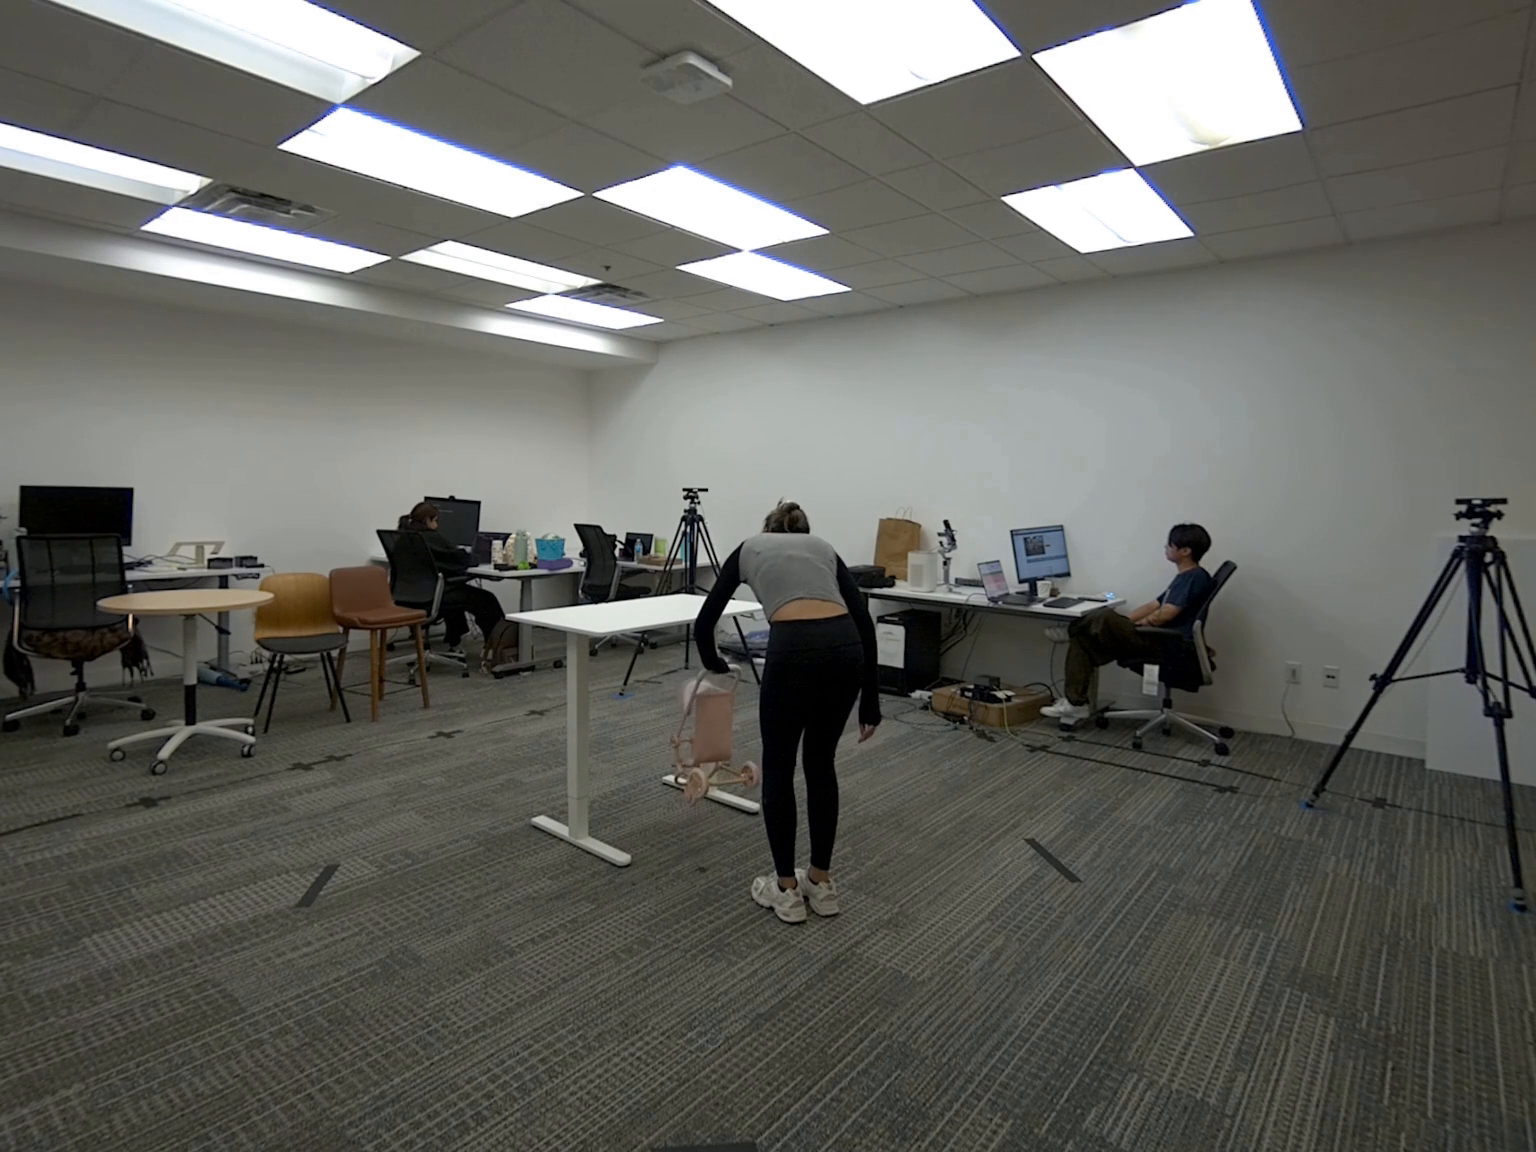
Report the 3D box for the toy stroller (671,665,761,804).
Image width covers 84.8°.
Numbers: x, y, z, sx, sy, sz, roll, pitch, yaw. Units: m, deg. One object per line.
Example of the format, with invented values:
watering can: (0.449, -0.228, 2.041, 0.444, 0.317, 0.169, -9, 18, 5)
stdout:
toy stroller: (-0.255, 0.635, 3.346, 0.273, 0.540, 0.348, 0, -10, -35)
